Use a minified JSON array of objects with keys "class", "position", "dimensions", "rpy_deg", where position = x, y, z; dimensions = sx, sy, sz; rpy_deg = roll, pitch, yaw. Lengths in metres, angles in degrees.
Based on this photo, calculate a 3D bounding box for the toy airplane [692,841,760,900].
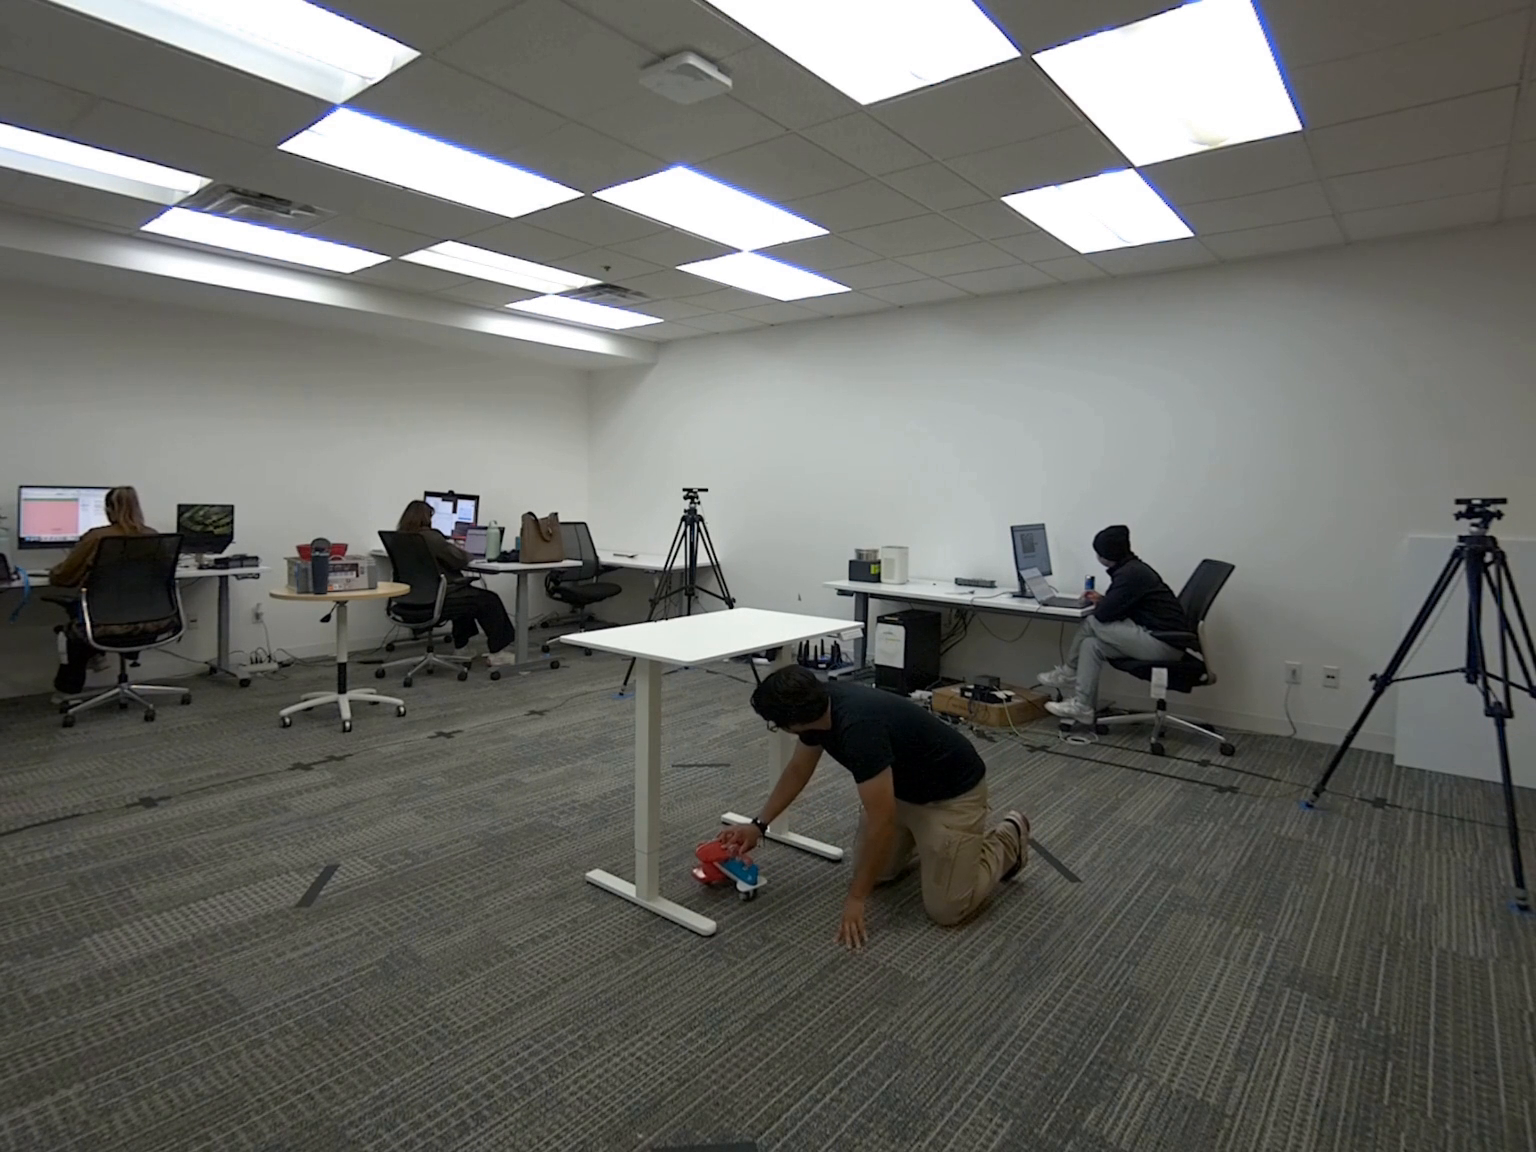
[{"class":"toy airplane","position":[-0.122,1.012,2.975],"dimensions":[0.265,0.156,0.246],"rpy_deg":[1,4,22]}]
